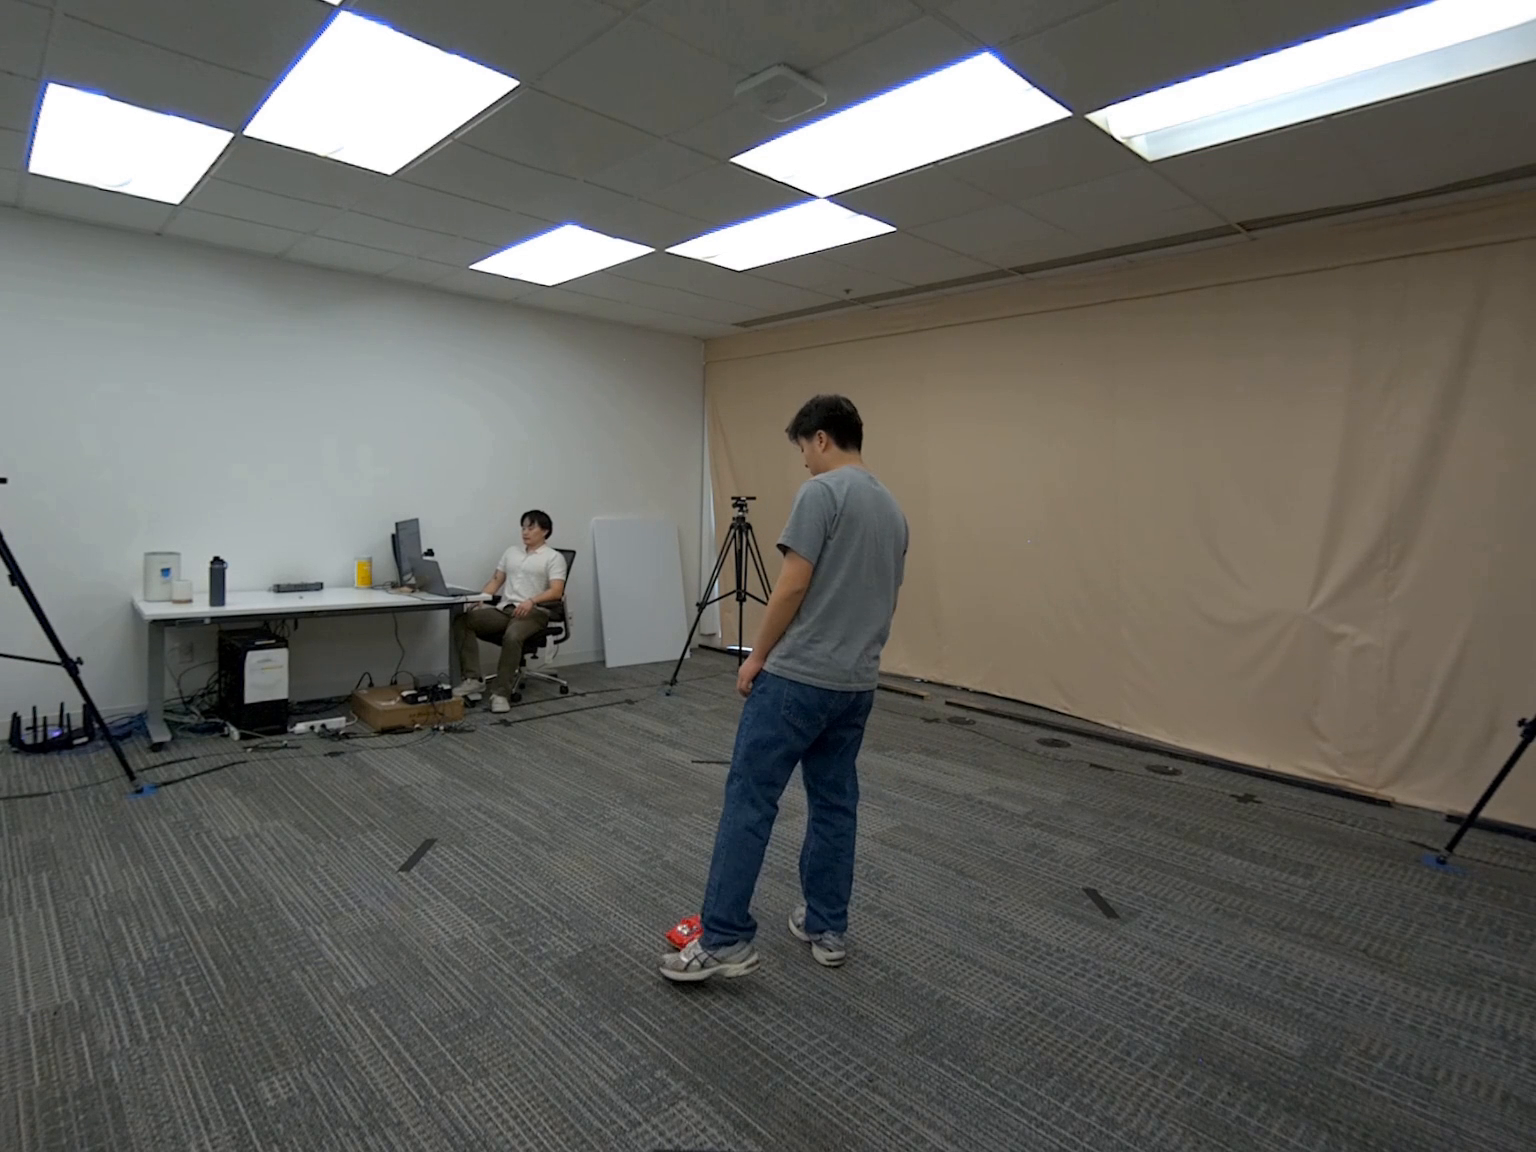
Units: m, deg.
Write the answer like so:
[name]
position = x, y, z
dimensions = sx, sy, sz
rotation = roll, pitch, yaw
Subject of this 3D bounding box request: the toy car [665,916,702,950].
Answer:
[toy car]
position = -0.210, 1.115, 2.634
dimensions = 0.133, 0.083, 0.247
rotation = 5, -4, 45
